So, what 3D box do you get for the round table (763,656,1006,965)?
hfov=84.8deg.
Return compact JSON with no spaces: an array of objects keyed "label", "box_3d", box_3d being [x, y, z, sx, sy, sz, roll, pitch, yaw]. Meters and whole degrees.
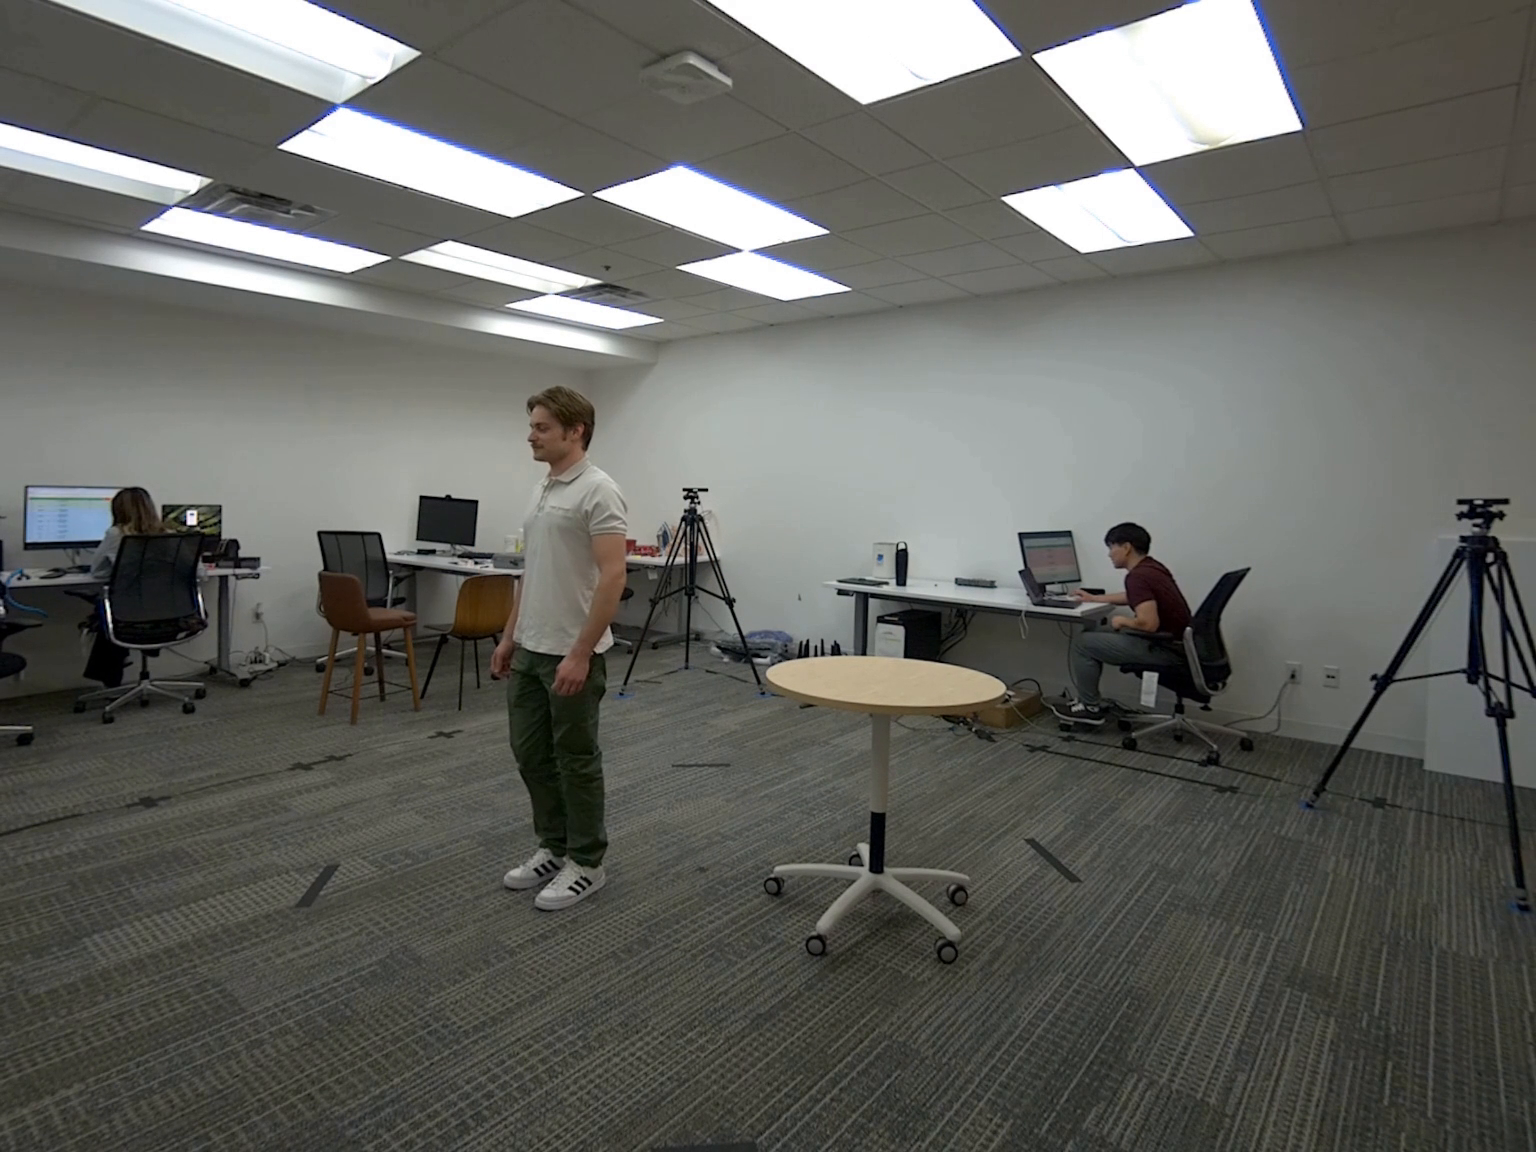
[{"label":"round table","box_3d":[0.354,0.728,2.793,0.763,0.791,0.768,1,4,-2]}]
